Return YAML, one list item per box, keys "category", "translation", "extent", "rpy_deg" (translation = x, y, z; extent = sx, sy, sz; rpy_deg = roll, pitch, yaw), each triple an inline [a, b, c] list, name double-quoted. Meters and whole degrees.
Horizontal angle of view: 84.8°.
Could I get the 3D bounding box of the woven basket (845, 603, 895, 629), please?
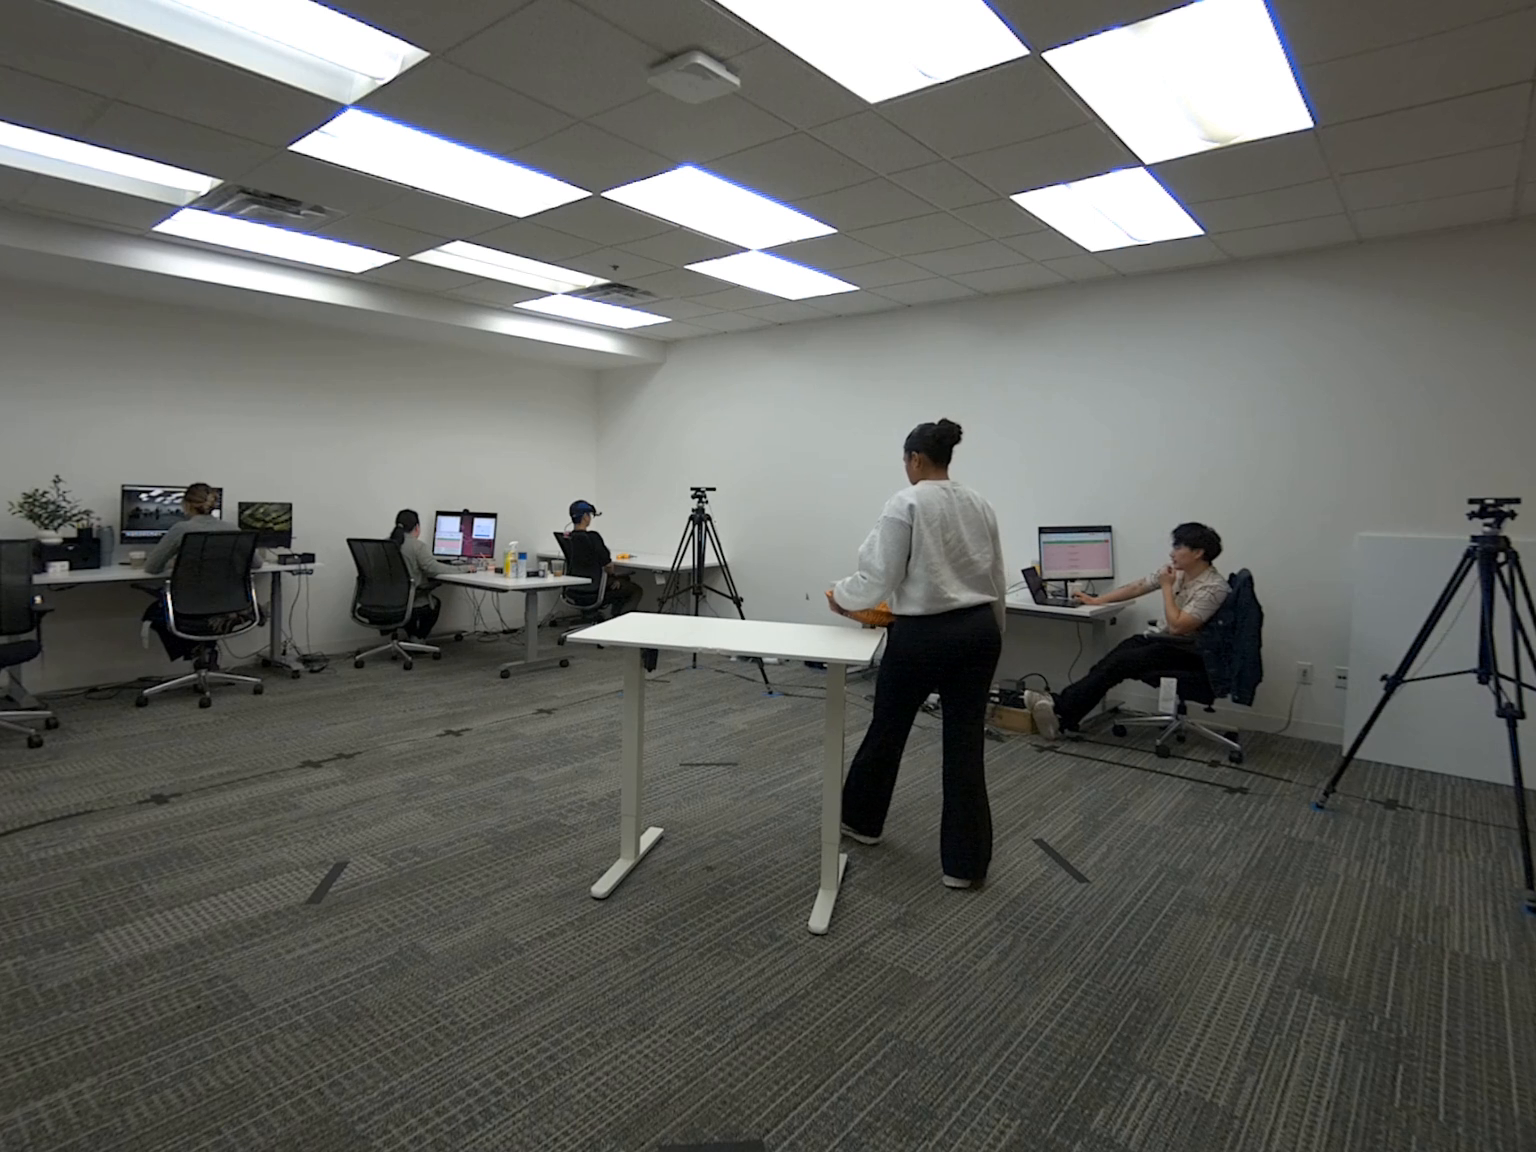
- category: "woven basket"
  translation: [0.377, 0.134, 3.358]
  extent: [0.244, 0.073, 0.364]
  rpy_deg: [2, 12, -38]
